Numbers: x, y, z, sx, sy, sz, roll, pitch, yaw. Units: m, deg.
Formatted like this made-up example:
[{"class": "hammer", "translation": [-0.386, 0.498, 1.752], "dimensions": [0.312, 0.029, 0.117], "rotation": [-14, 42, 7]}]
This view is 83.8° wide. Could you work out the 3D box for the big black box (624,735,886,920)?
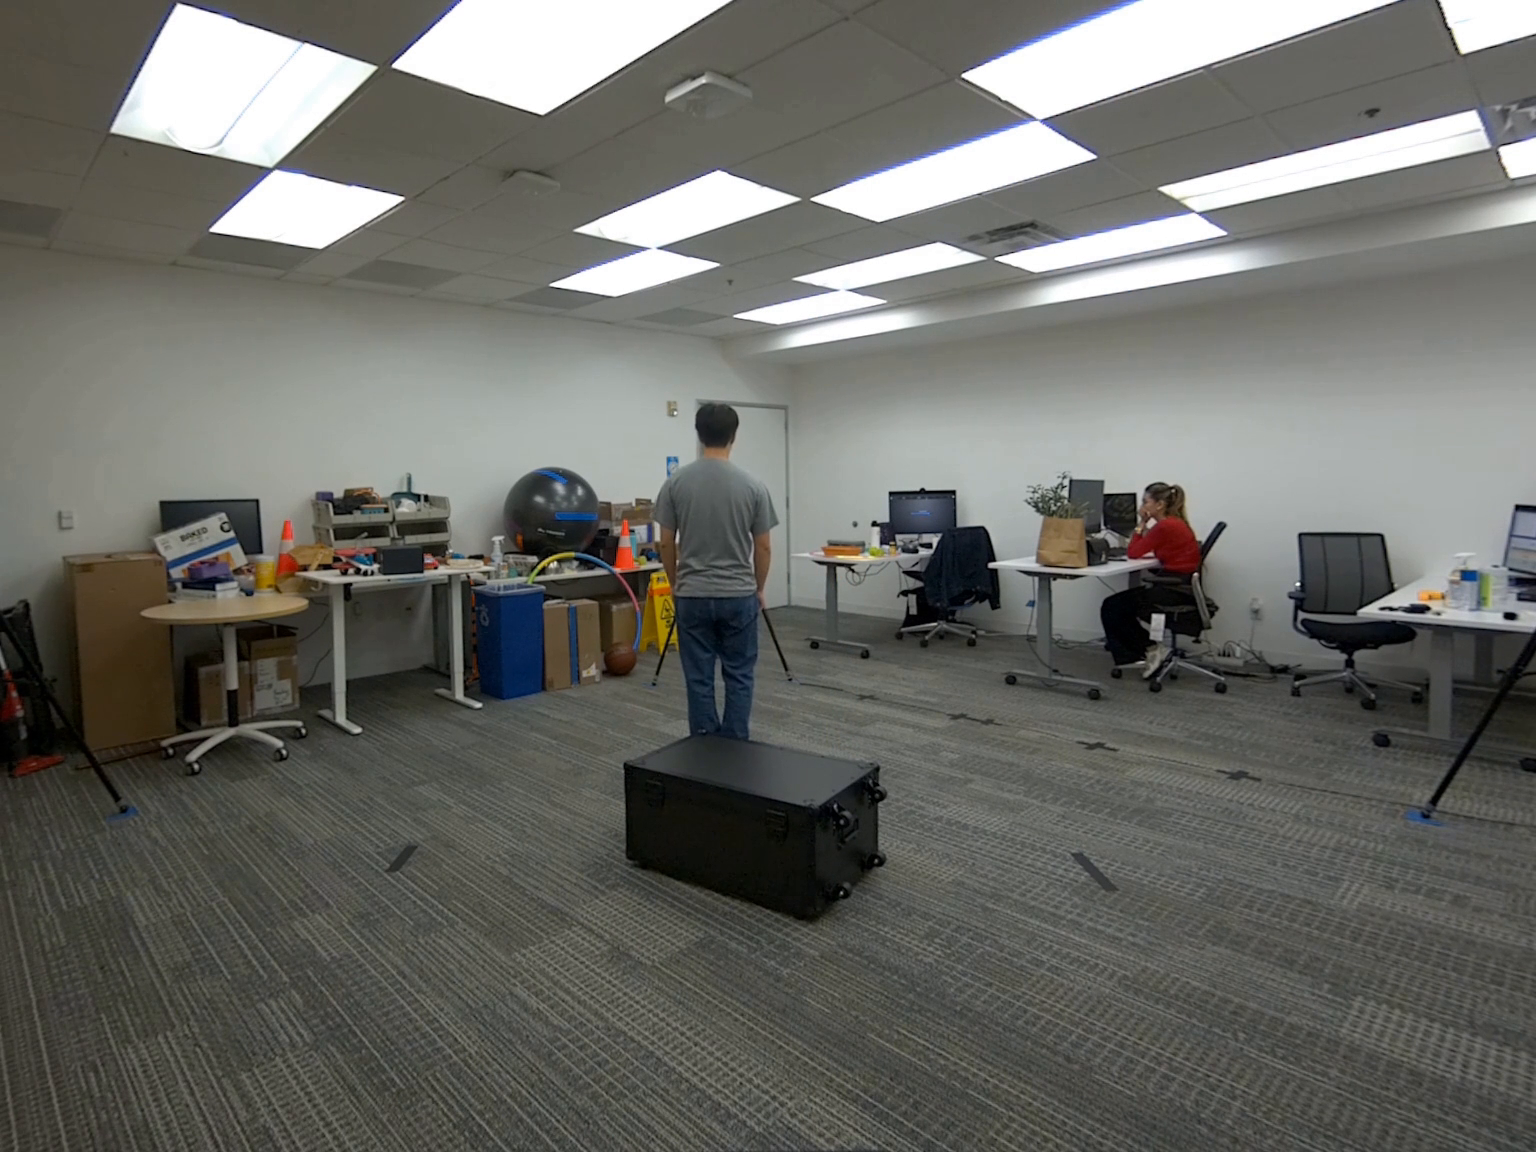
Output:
[{"class": "big black box", "translation": [-0.033, 0.860, 3.050], "dimensions": [0.885, 0.395, 0.509], "rotation": [2, 6, 33]}]
